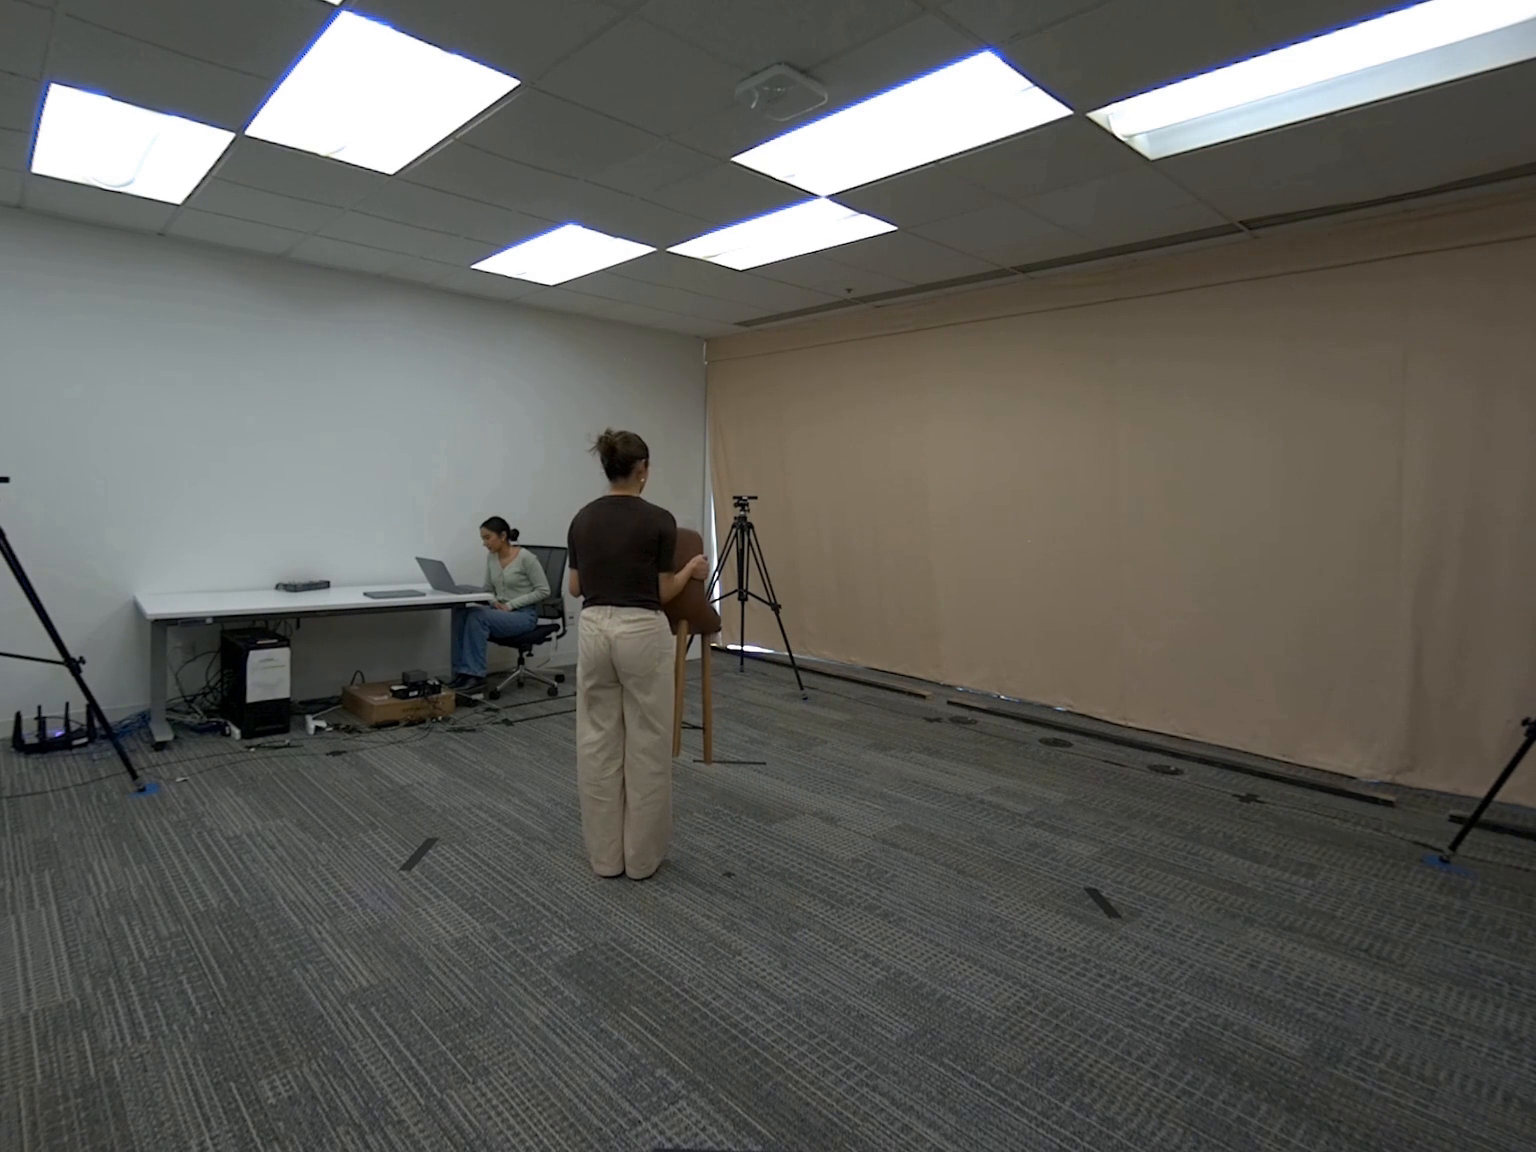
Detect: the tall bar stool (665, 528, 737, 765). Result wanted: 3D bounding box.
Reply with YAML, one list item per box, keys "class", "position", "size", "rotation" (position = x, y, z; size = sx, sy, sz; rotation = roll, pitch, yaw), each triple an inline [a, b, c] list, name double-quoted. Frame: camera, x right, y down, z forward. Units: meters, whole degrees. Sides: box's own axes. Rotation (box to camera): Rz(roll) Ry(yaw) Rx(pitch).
- class: "tall bar stool"
  position: [-0.456, 0.295, 3.418]
  size: [0.461, 0.899, 0.458]
  rotation: [-1, -16, 12]
